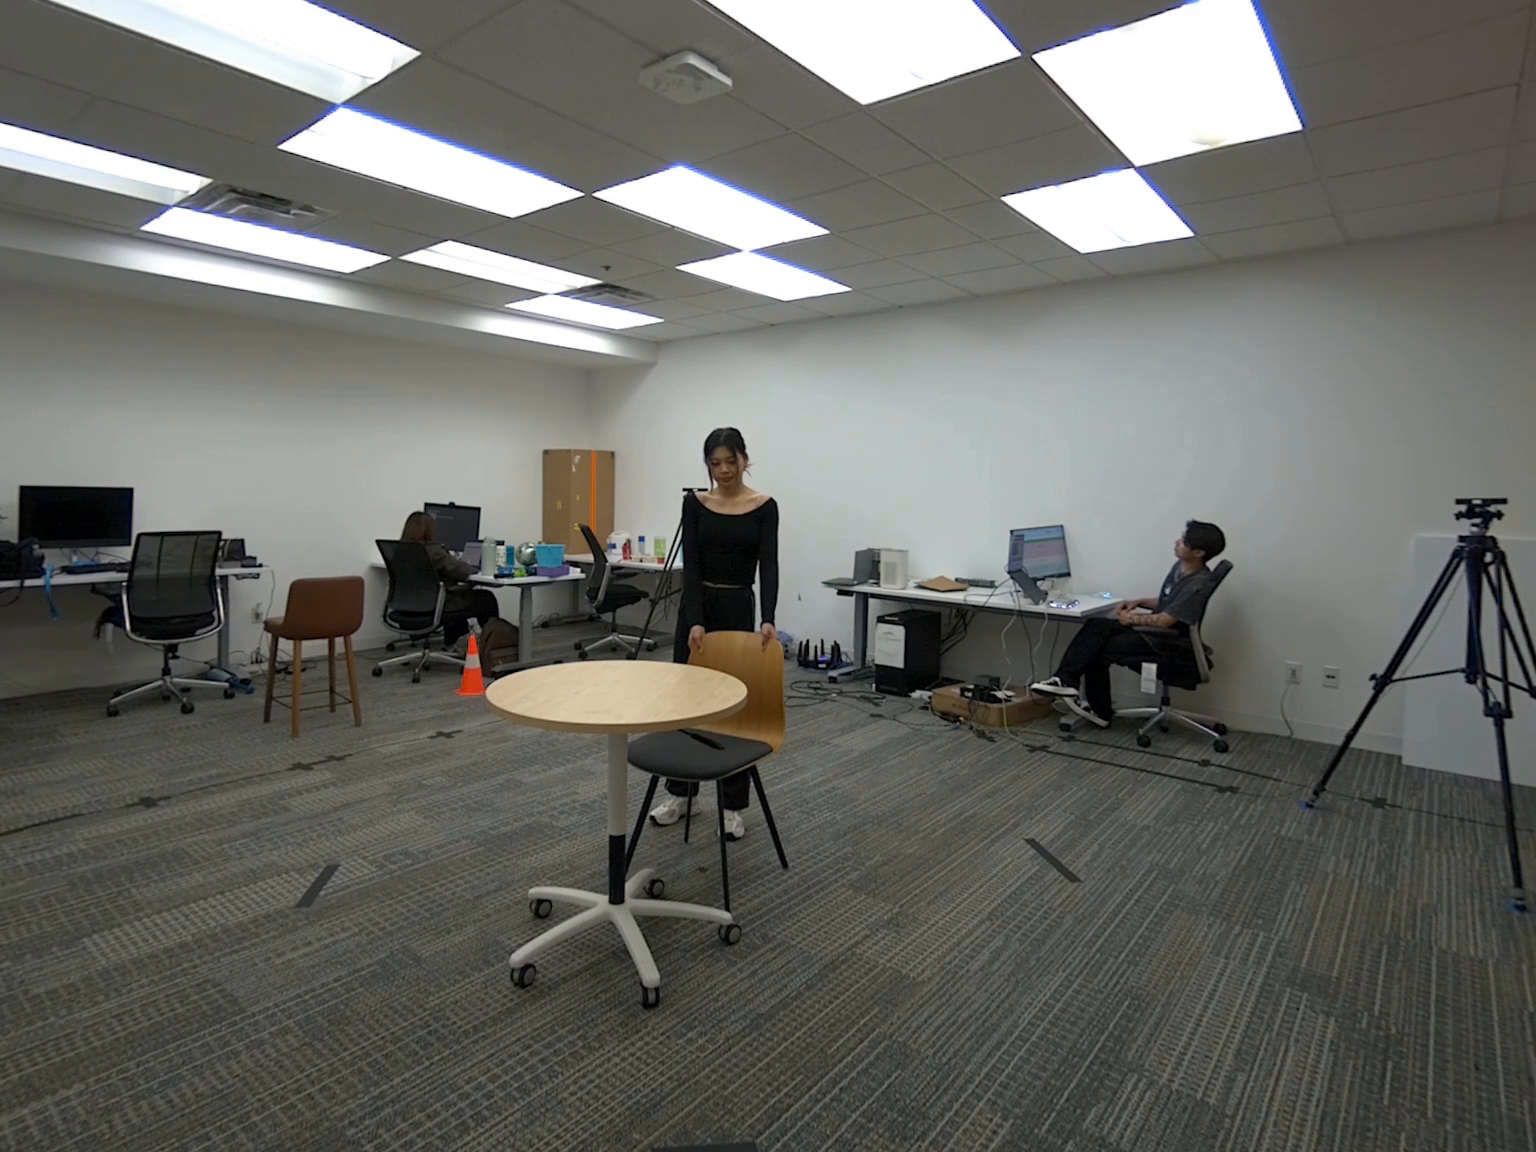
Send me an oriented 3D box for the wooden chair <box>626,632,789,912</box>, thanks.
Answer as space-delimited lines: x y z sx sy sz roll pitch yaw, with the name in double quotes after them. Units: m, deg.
-0.226 0.645 3.024 0.492 0.878 0.508 3 -1 29 "wooden chair"
